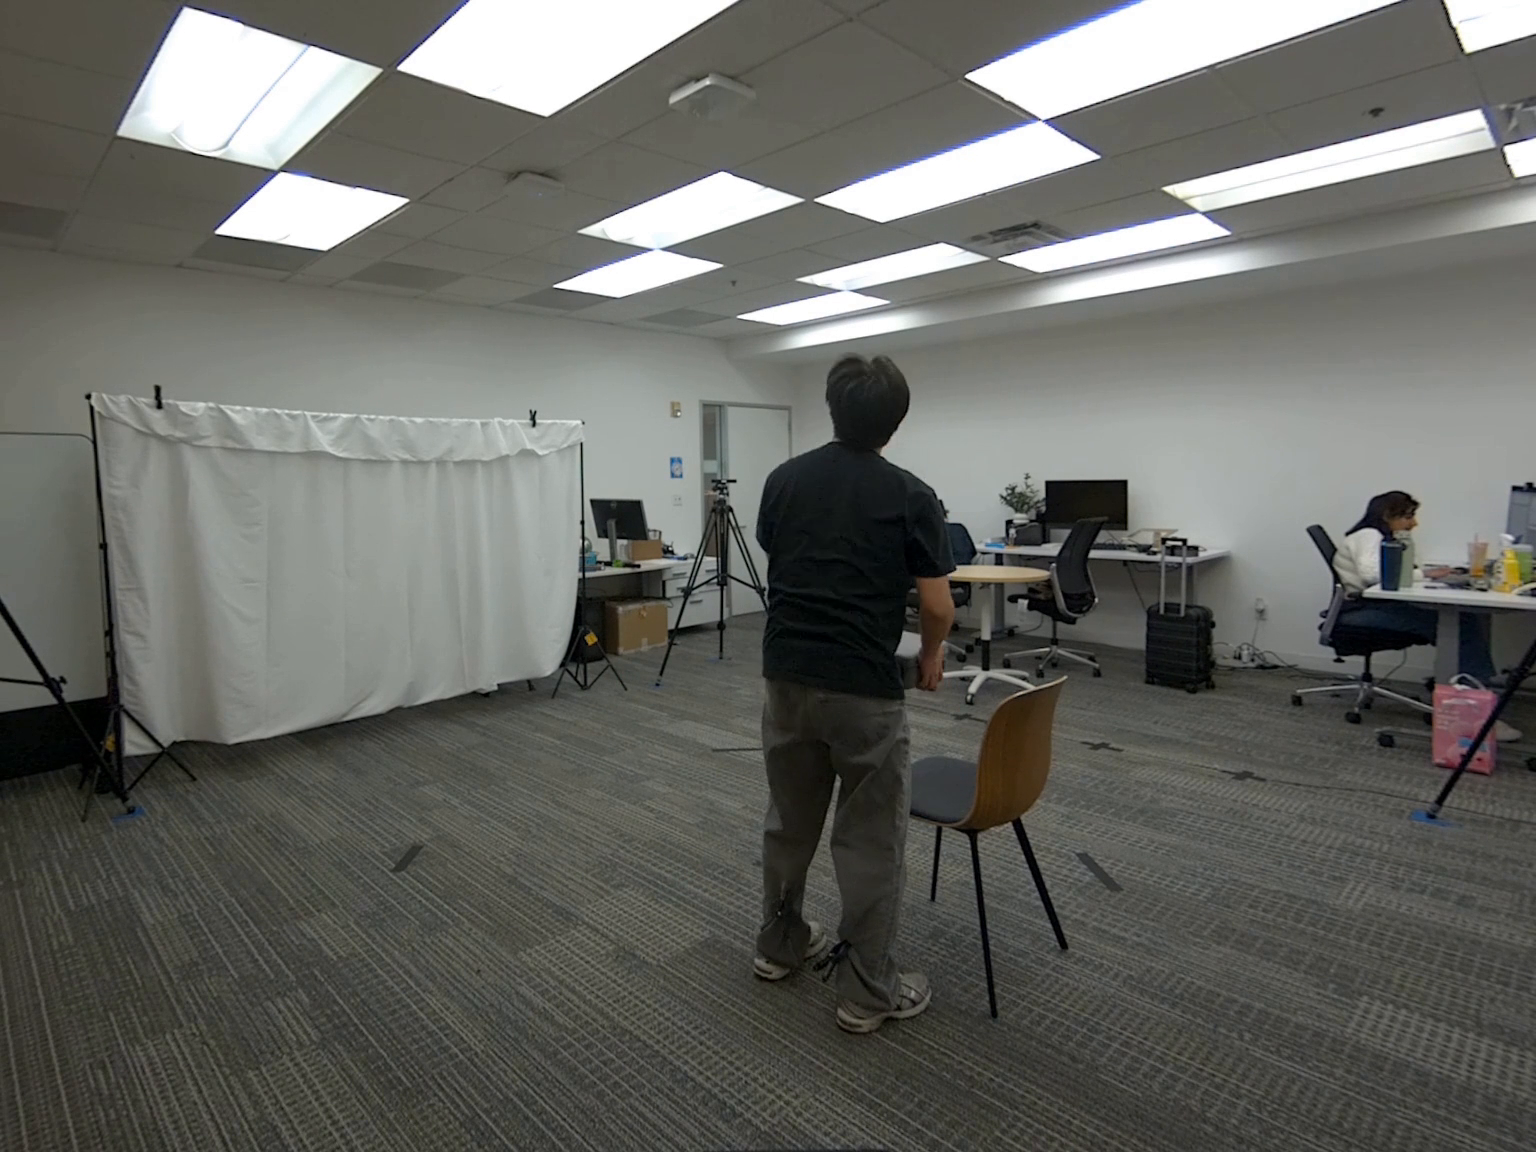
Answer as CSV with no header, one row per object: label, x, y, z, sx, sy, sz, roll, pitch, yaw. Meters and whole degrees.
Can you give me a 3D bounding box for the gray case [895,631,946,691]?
gray case,0.383,0.250,2.515,0.271,0.102,0.281,8,12,35
